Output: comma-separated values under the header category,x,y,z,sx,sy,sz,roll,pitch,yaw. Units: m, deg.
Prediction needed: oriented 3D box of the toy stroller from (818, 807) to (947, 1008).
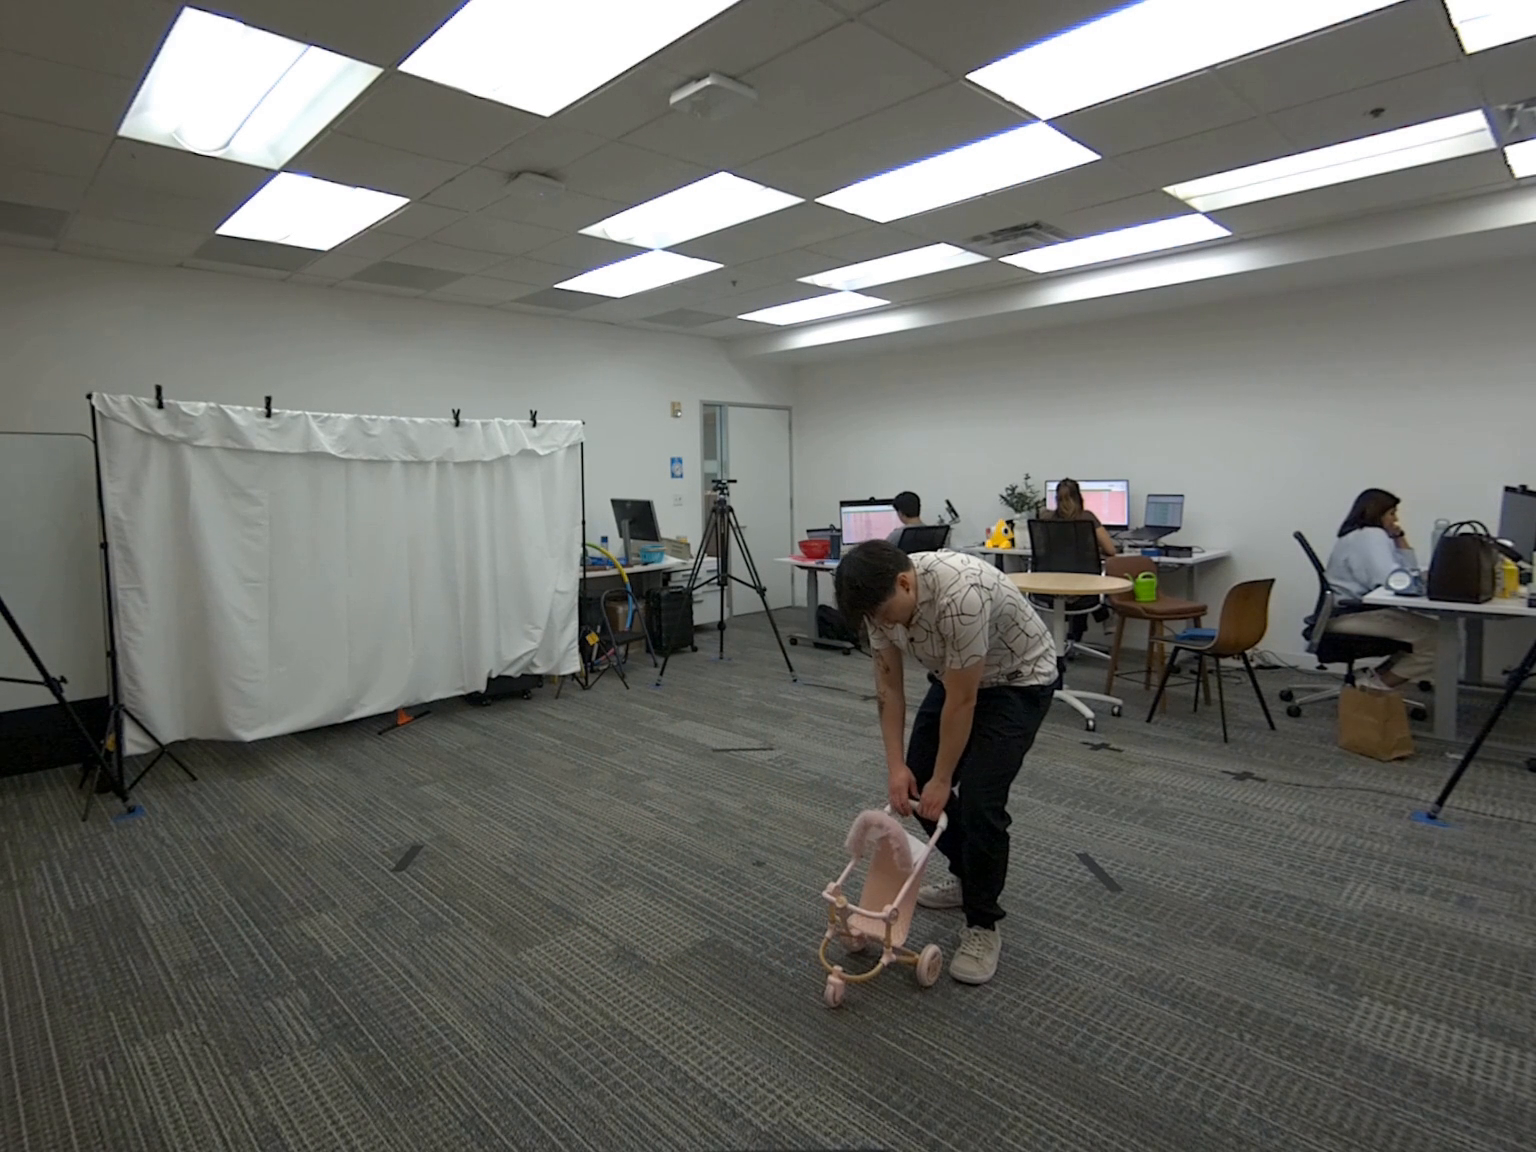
category,x,y,z,sx,sy,sz,roll,pitch,yaw
toy stroller,0.308,0.901,2.381,0.329,0.538,0.290,16,-9,-40
